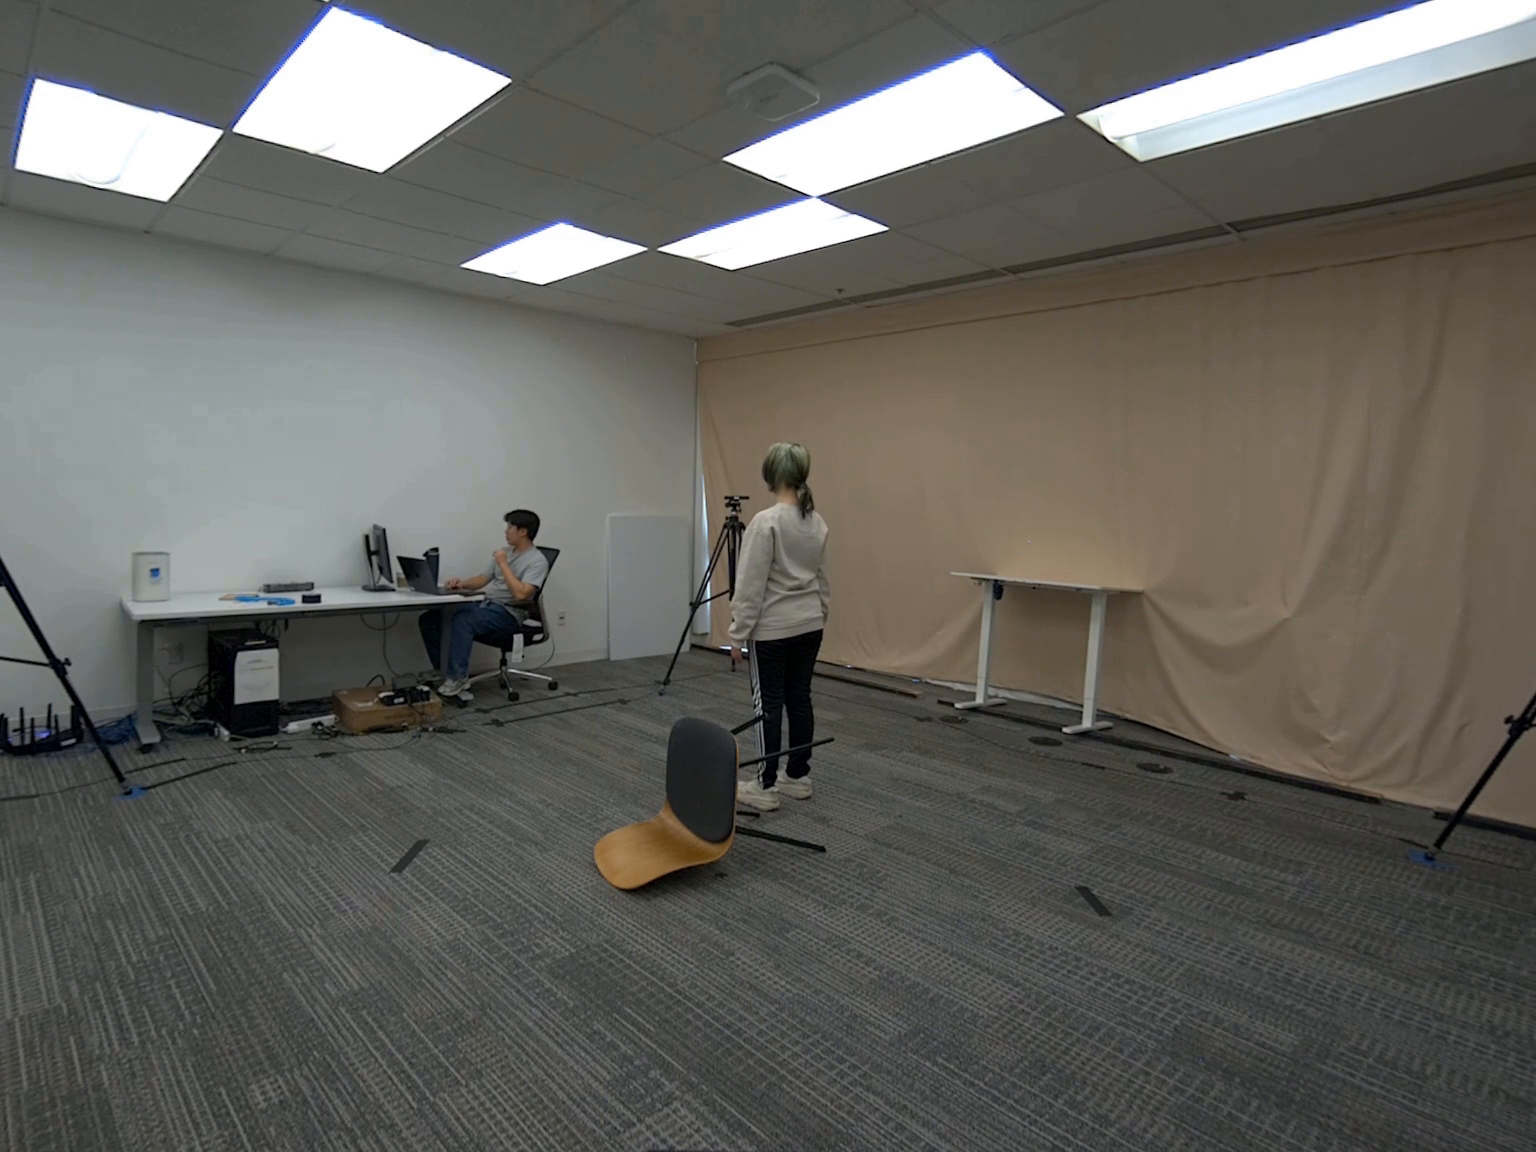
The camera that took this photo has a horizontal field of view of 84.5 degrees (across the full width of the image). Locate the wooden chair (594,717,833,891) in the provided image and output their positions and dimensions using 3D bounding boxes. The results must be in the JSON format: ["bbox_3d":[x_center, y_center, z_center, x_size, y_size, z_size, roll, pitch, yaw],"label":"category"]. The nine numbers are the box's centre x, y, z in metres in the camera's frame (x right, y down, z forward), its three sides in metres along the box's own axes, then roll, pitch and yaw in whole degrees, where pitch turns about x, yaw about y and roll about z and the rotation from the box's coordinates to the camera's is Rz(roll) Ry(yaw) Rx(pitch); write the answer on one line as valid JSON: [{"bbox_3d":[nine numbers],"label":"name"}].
[{"bbox_3d":[-0.234,0.831,3.263,0.858,0.521,0.490,-3,6,-36],"label":"wooden chair"}]
